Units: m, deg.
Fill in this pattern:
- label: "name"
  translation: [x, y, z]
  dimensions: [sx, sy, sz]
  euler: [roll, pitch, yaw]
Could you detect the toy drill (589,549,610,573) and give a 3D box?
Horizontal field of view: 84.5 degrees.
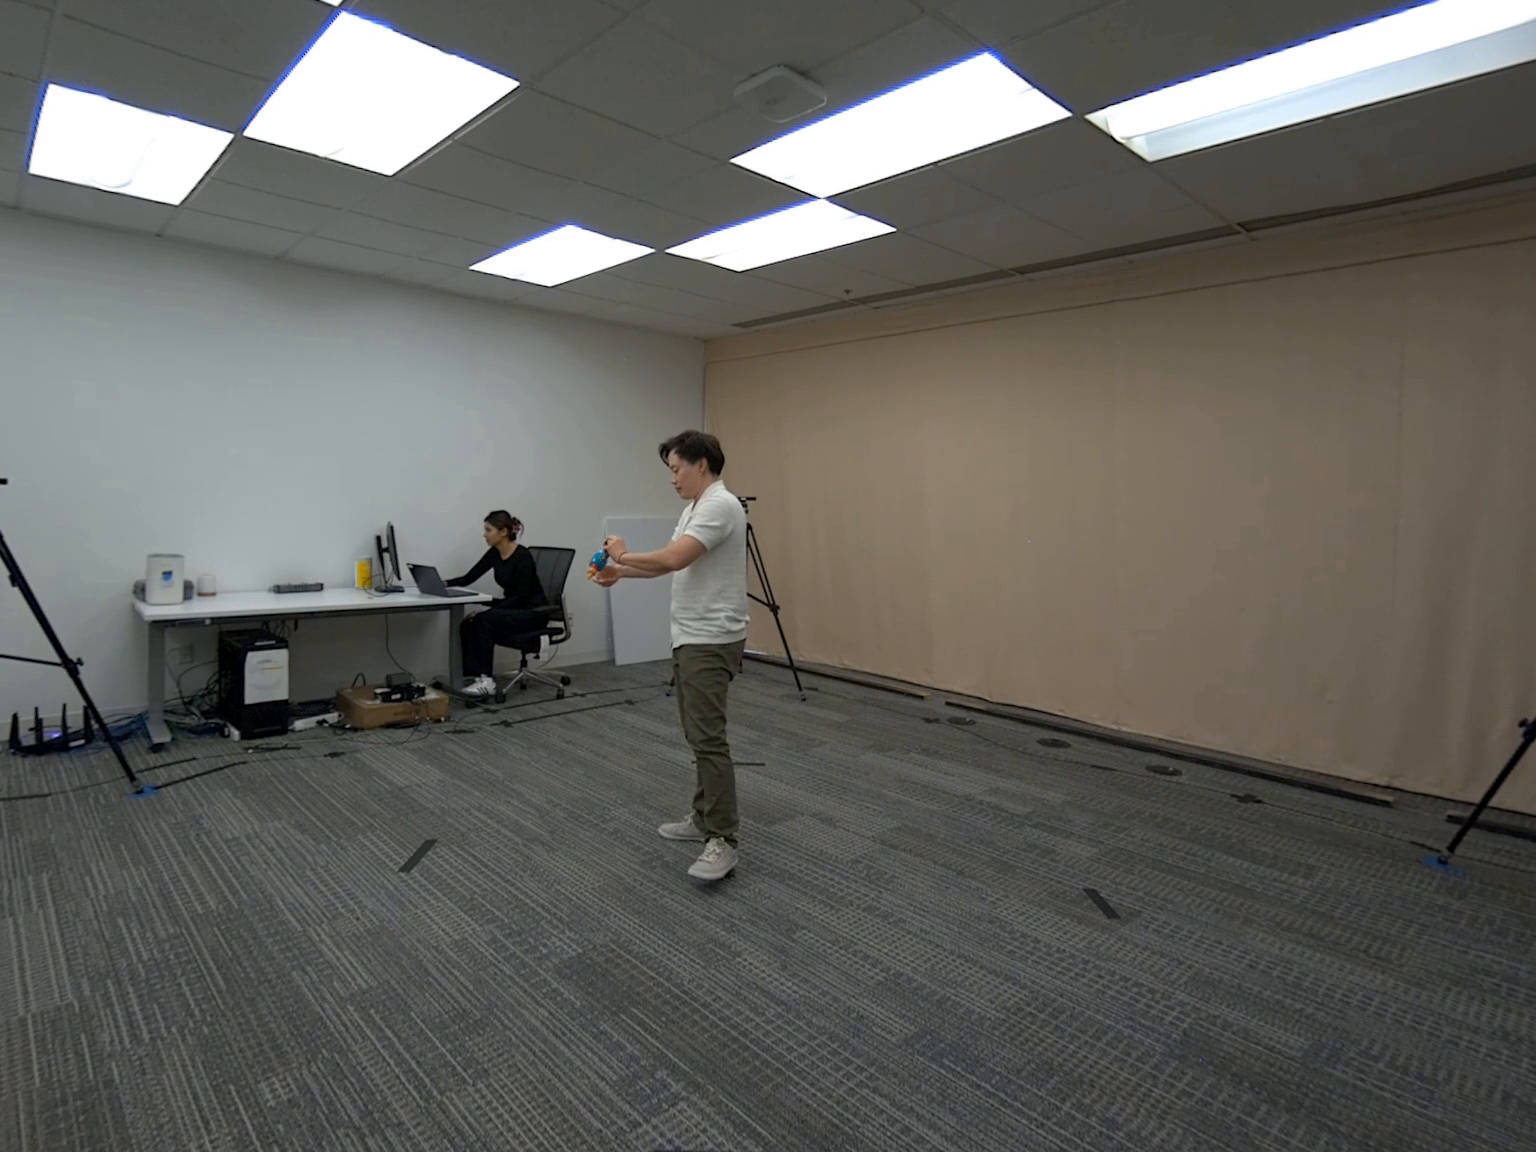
- label: "toy drill"
  translation: [-0.659, -0.059, 3.328]
  dimensions: [0.060, 0.171, 0.146]
  euler: [37, -43, -13]
